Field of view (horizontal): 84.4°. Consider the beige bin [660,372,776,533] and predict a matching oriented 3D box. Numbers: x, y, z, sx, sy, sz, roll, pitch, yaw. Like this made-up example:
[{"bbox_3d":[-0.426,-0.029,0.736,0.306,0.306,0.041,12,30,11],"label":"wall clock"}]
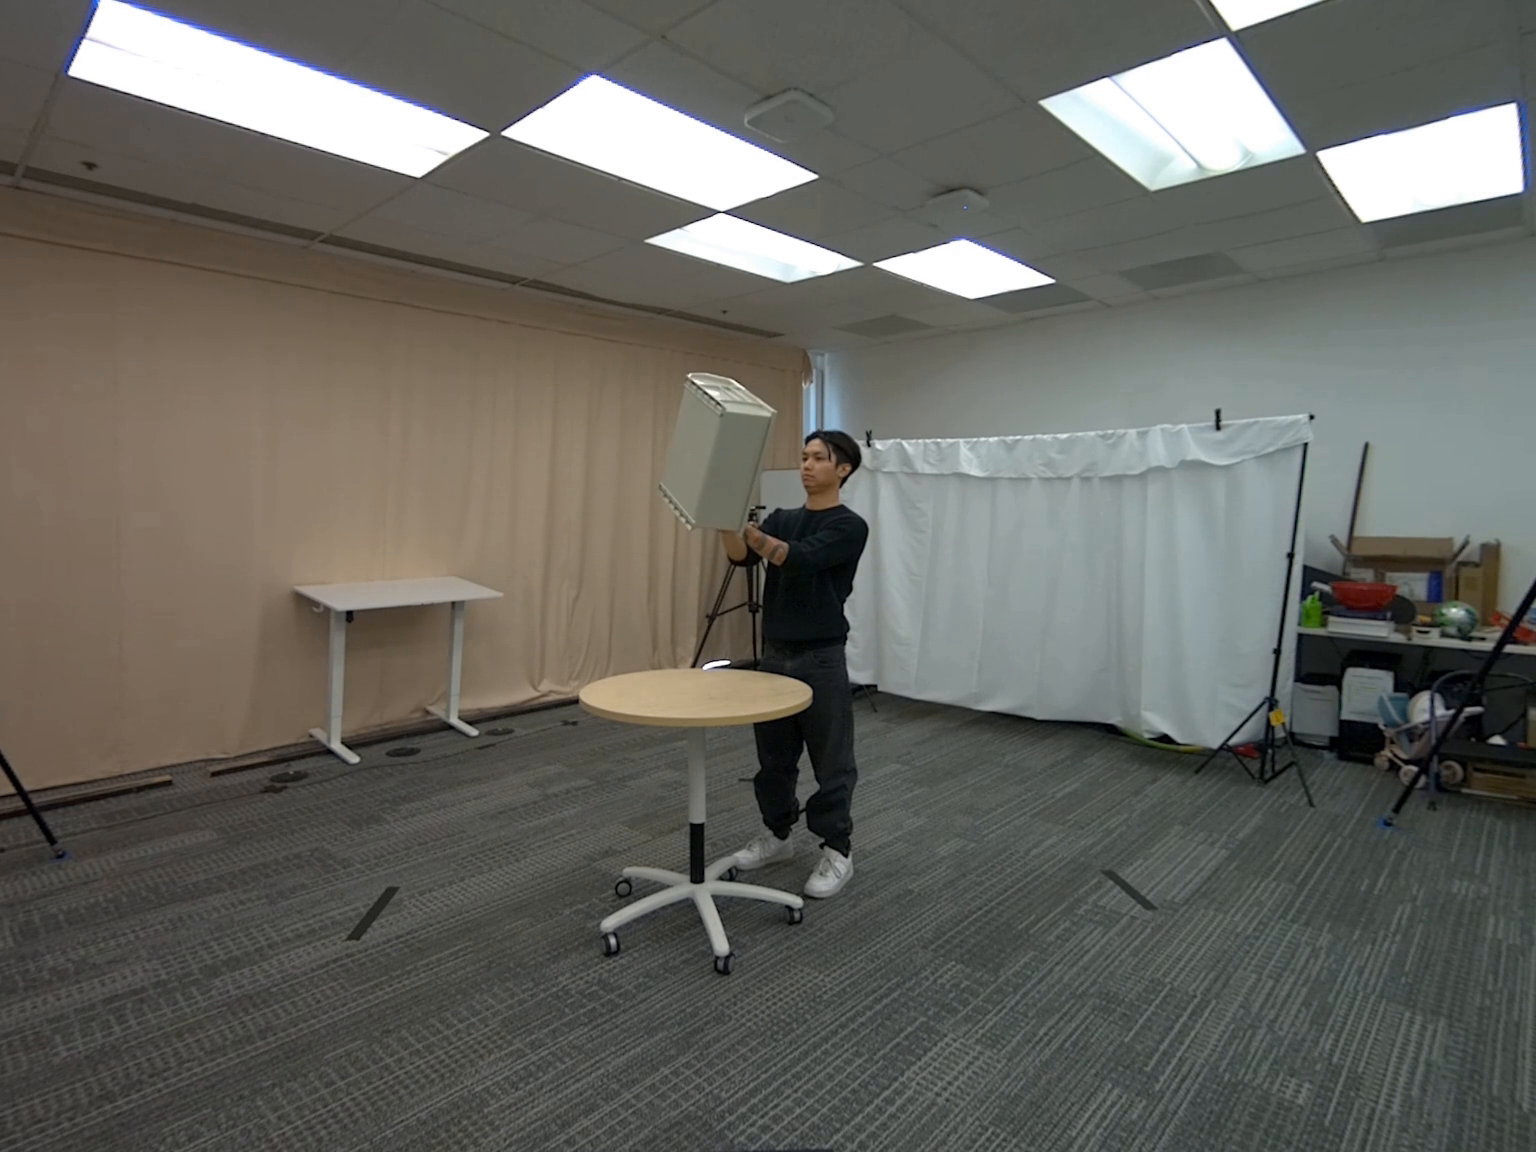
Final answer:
[{"bbox_3d":[-0.183,-0.402,2.714,0.184,0.420,0.390,4,25,-29],"label":"beige bin"}]
